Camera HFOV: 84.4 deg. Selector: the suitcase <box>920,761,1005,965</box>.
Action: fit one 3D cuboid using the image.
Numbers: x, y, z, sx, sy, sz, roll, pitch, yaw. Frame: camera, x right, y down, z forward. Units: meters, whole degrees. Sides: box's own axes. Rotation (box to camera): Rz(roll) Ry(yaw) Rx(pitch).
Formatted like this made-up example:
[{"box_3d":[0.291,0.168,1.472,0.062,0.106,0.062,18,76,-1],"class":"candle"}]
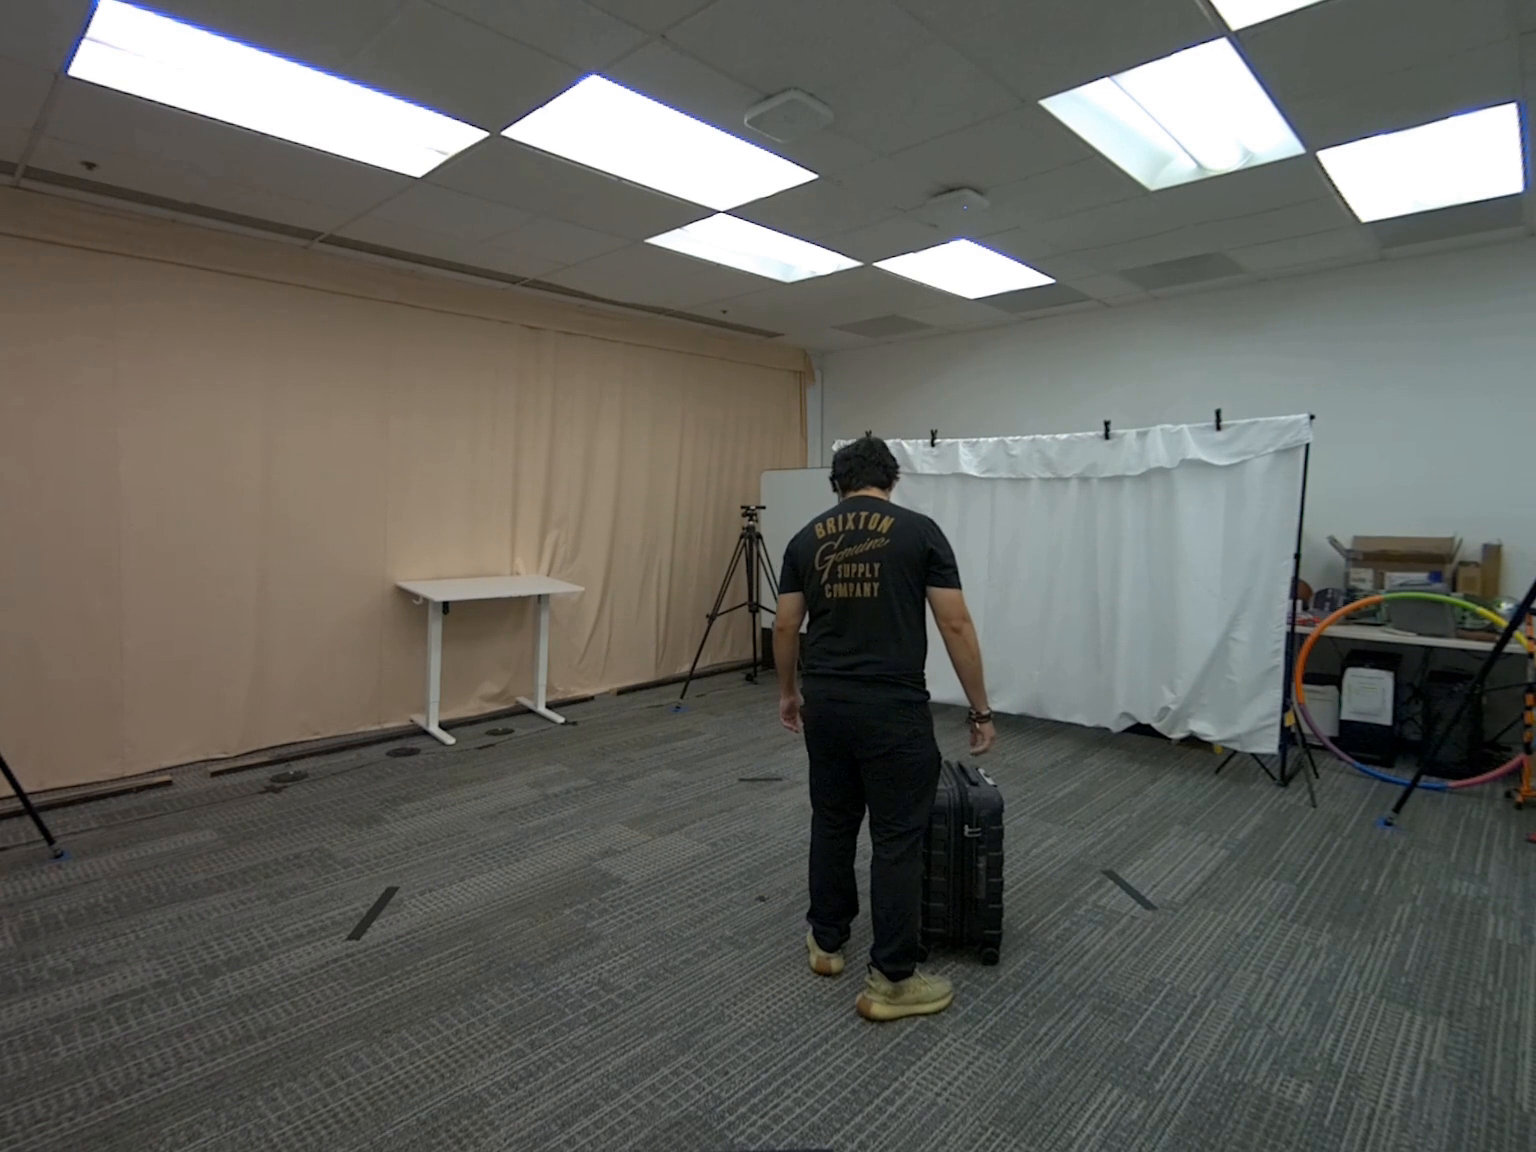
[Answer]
[{"box_3d":[0.600,0.890,2.694,0.249,0.548,0.375,0,4,2],"class":"suitcase"}]
